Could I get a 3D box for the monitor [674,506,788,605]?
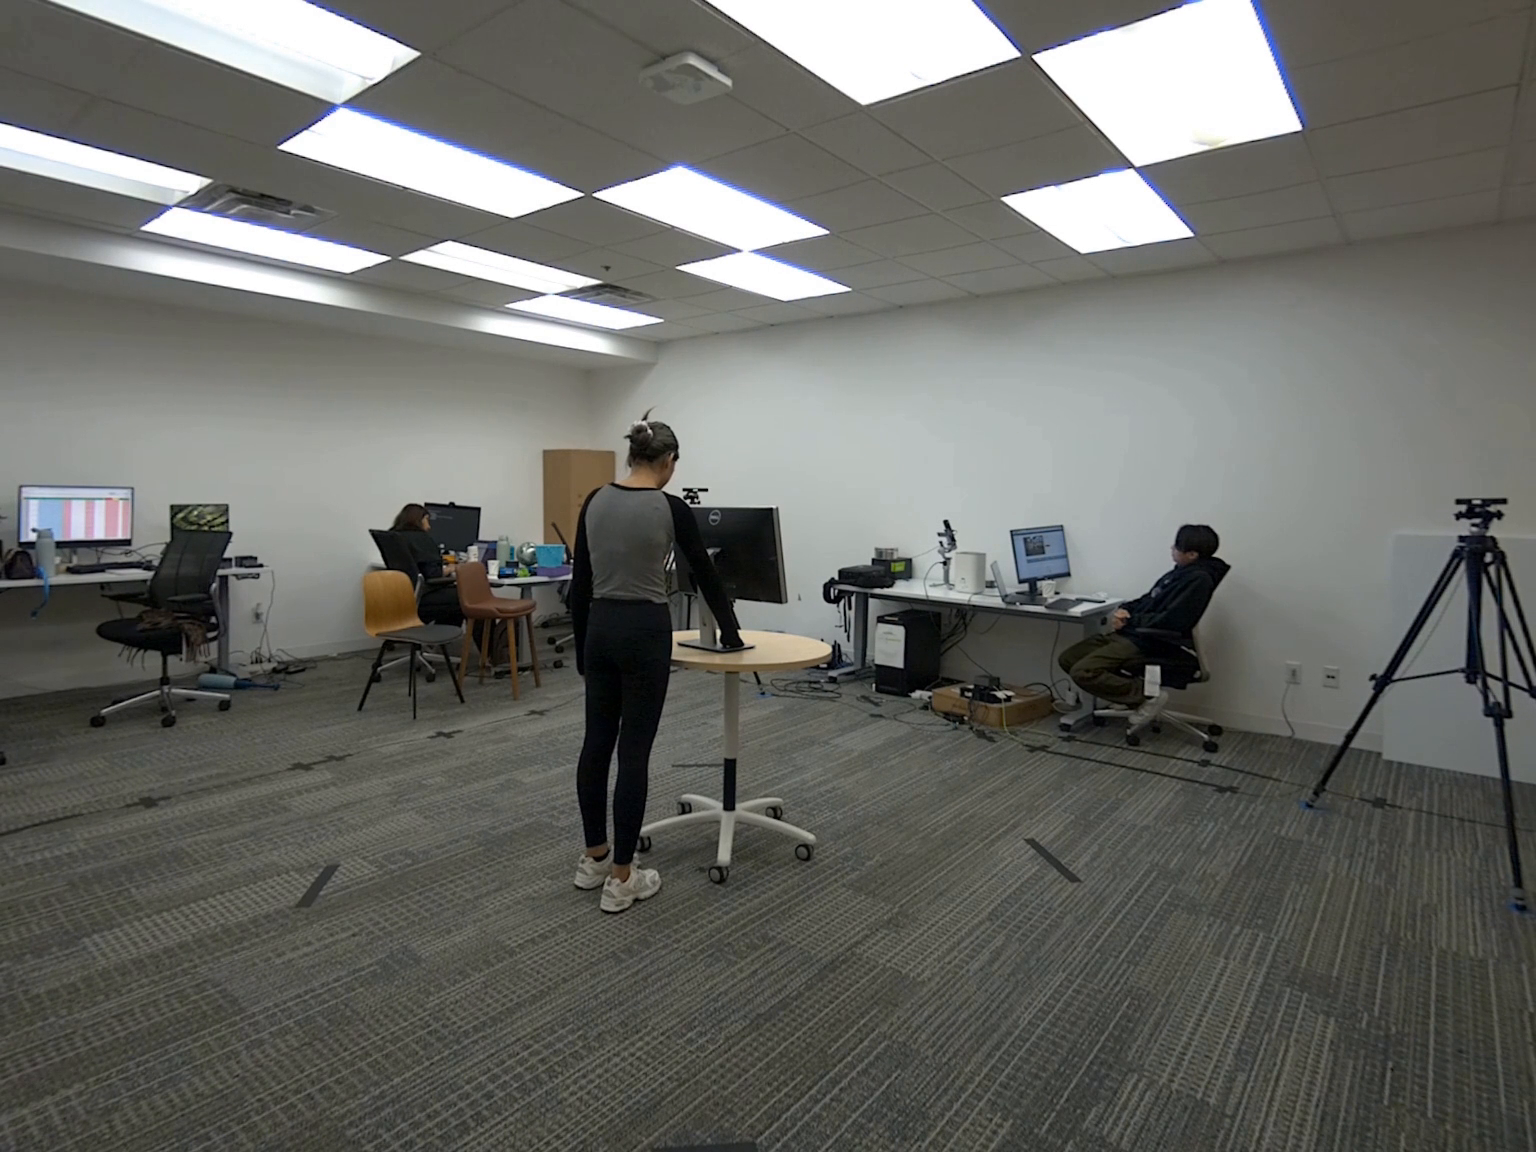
[{"bbox_3d":[-0.200,0.000,3.249,0.557,0.522,0.181,4,2,40],"label":"monitor"}]
